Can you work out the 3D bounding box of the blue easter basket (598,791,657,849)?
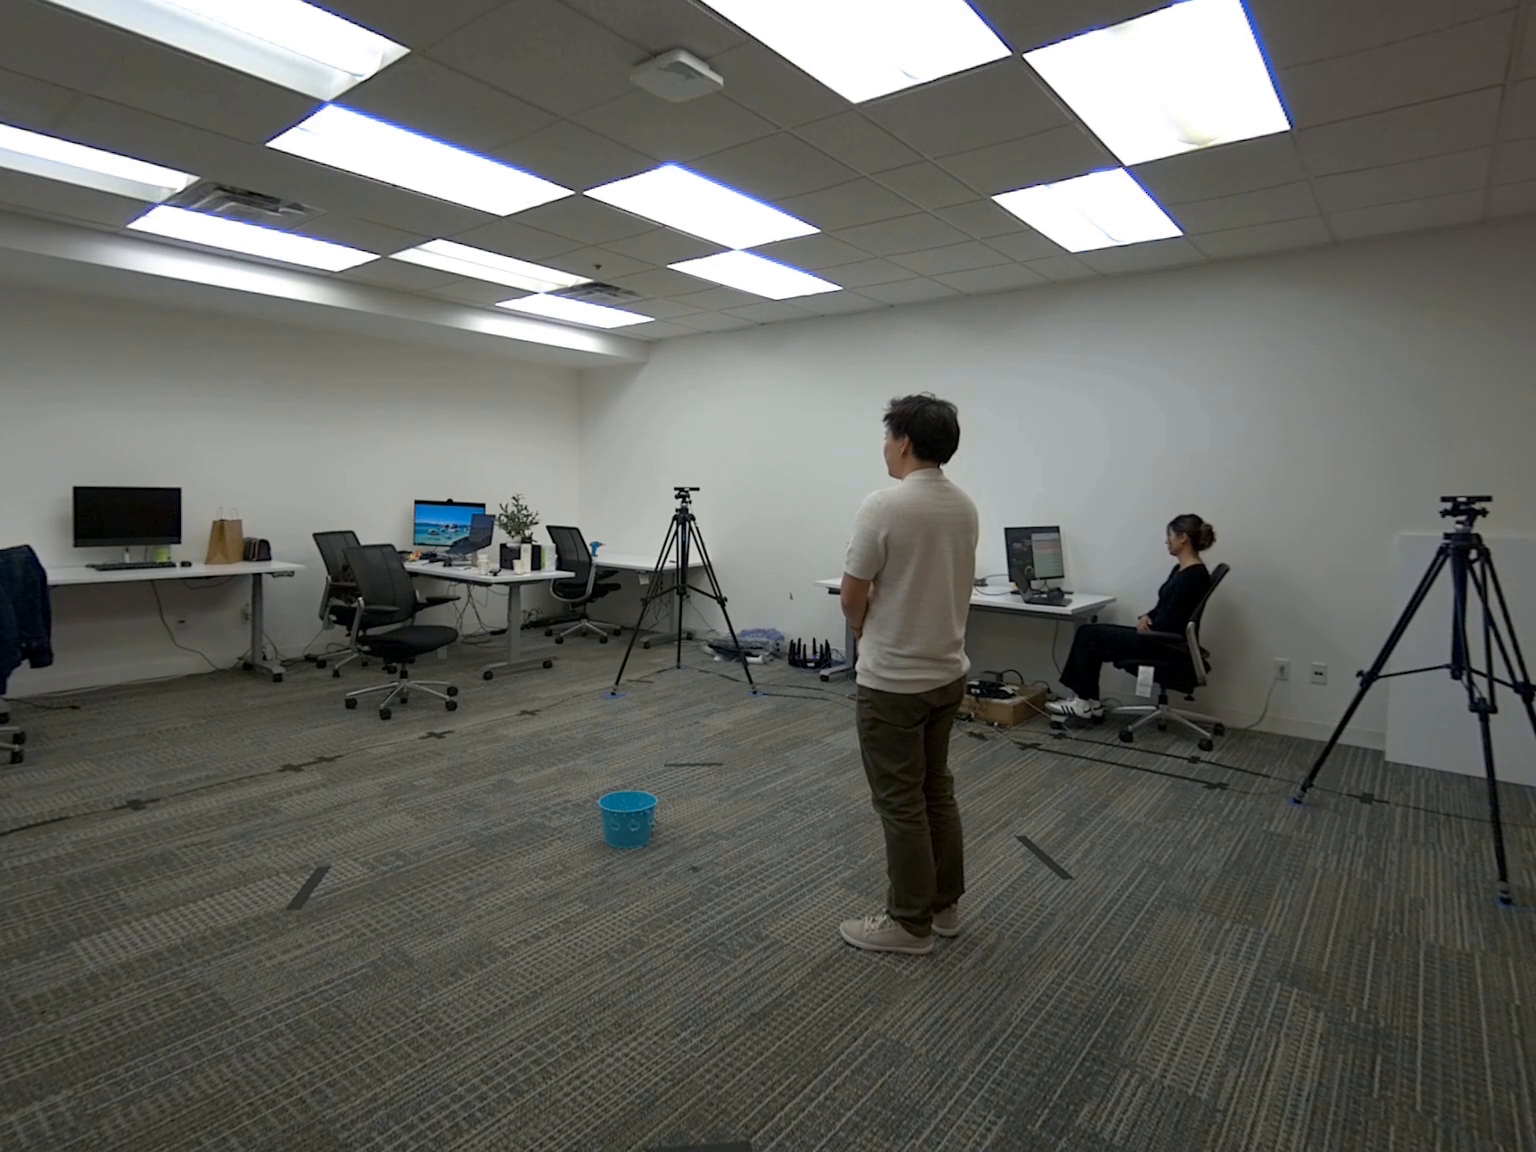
[{"bbox_3d":[-0.560,0.957,3.362,0.243,0.155,0.245,1,5,-2],"label":"blue easter basket"}]
